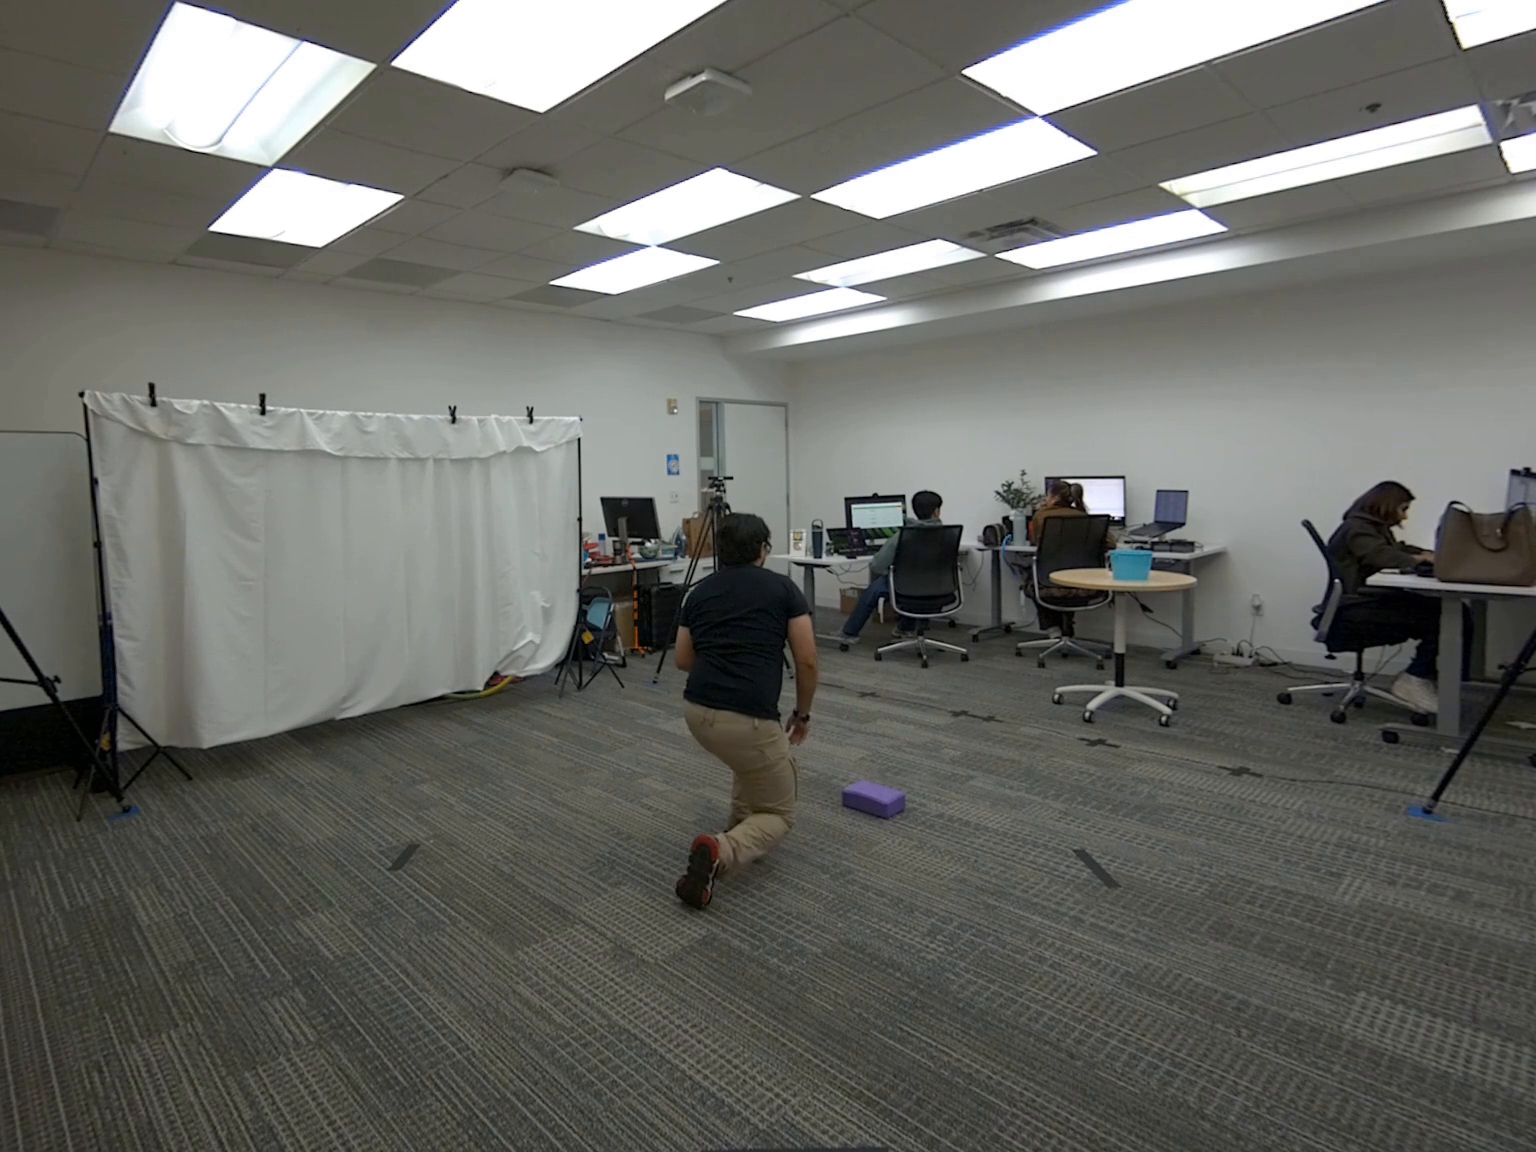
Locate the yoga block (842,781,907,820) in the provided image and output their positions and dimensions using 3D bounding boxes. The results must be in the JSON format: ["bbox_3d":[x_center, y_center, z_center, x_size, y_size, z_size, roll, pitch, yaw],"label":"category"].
[{"bbox_3d":[0.443,0.934,3.585,0.236,0.076,0.145,5,10,44],"label":"yoga block"}]
